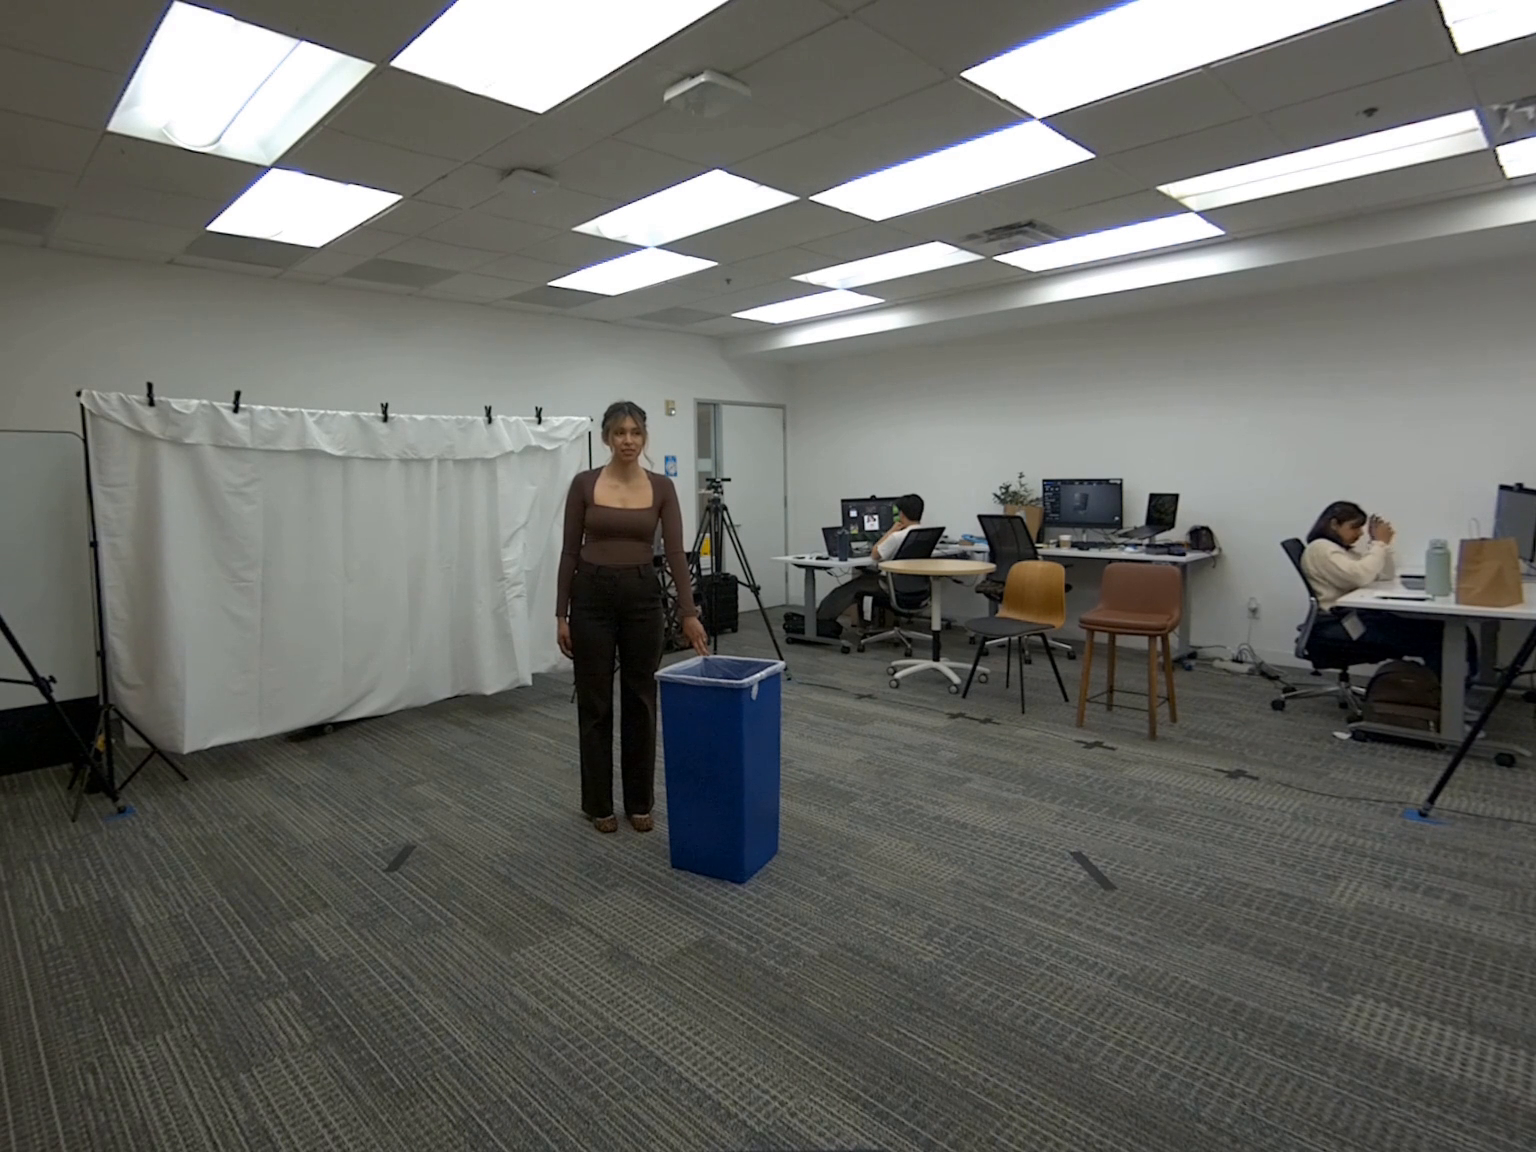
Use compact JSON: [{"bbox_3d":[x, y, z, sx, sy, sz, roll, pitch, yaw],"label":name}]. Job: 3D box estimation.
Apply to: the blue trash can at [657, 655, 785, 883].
[{"bbox_3d":[-0.165,0.684,3.118,0.383,0.711,0.370,2,4,27],"label":"blue trash can"}]
